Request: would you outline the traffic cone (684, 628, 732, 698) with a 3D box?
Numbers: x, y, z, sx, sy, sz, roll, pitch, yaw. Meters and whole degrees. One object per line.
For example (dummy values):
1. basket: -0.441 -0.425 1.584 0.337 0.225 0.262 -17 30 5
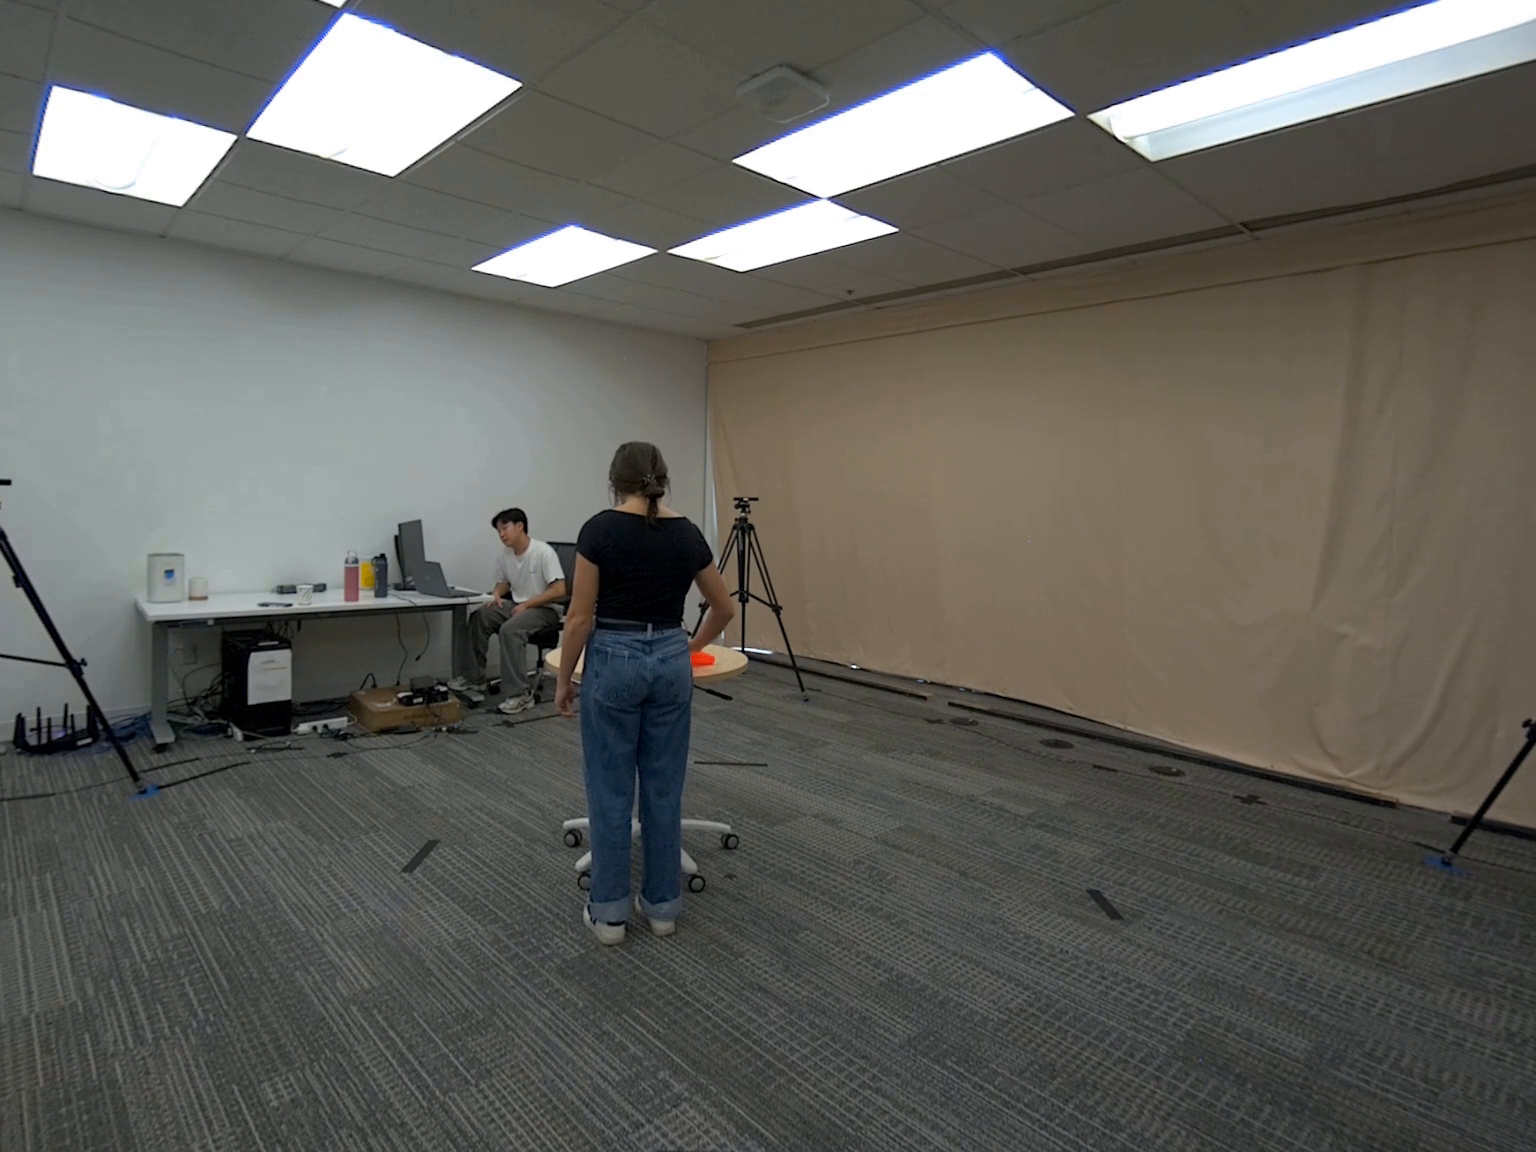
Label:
1. traffic cone: -0.366 0.283 3.009 0.374 0.205 0.208 14 -3 -30
